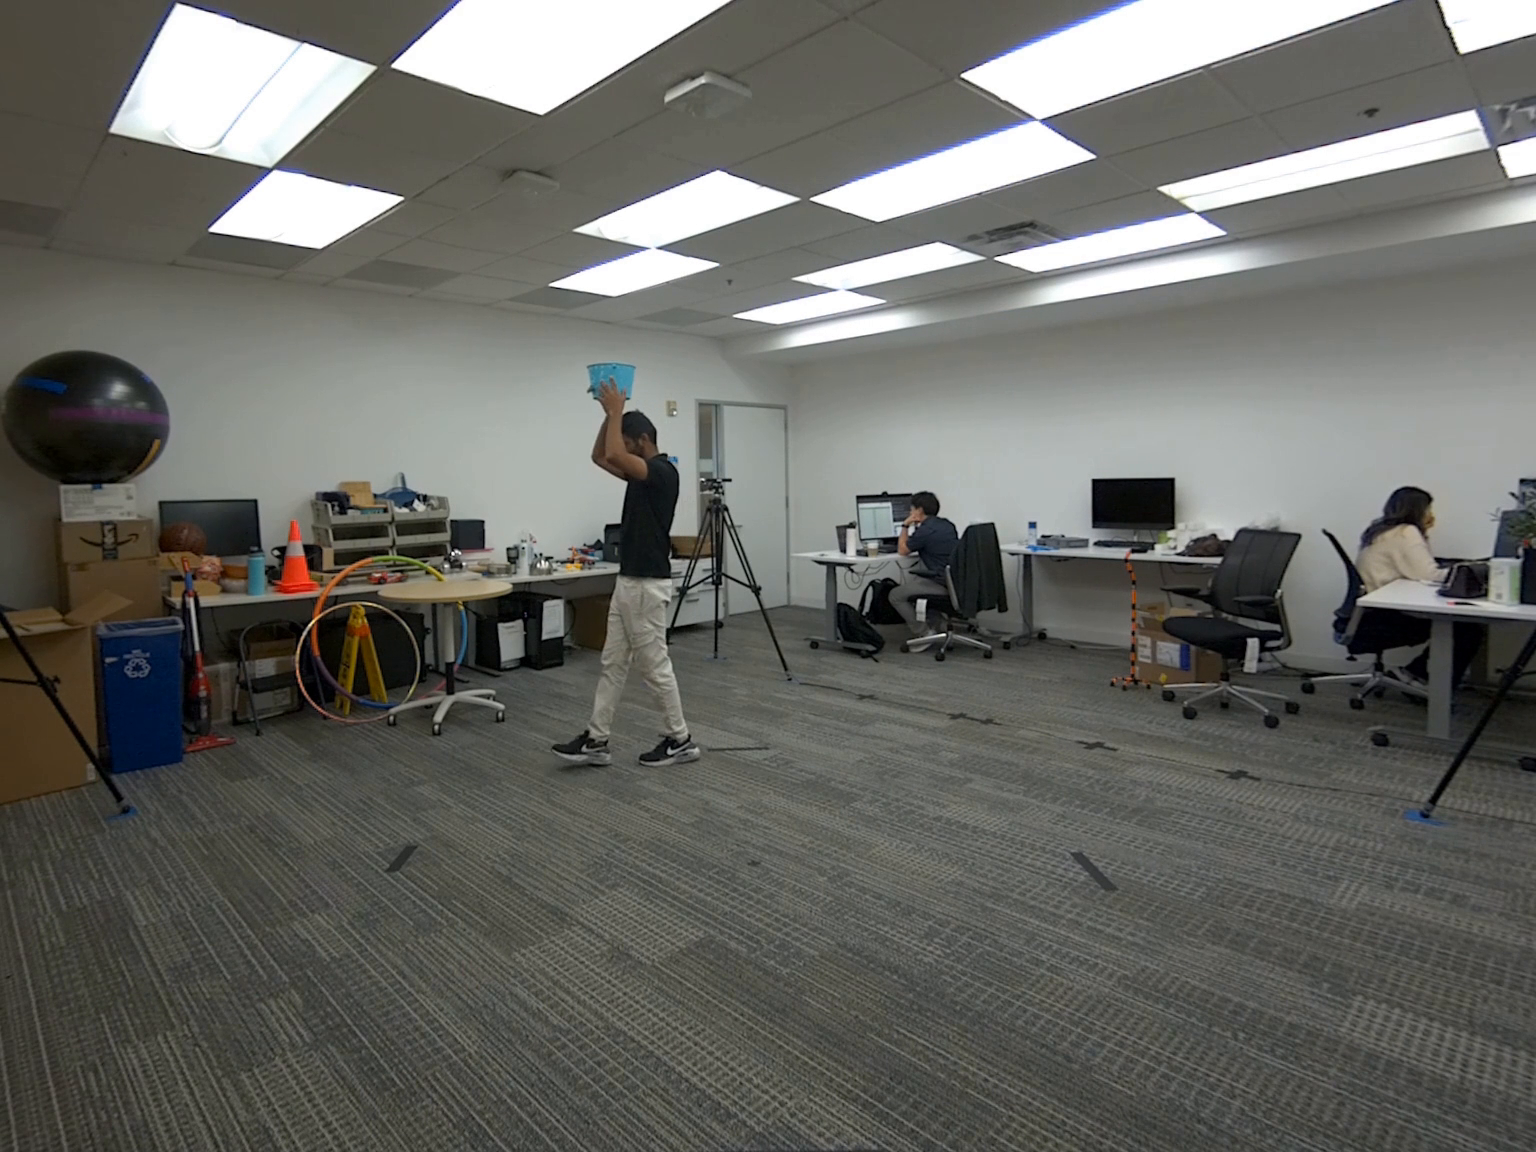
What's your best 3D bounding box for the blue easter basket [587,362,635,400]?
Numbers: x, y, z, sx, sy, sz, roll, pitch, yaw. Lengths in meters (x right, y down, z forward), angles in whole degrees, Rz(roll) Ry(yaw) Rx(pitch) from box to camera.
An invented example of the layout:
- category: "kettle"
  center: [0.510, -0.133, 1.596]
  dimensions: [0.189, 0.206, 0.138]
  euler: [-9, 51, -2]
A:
- category: "blue easter basket"
  center: [-0.760, -0.934, 4.111]
  dimensions: [0.243, 0.156, 0.244]
  euler: [0, 3, -2]
